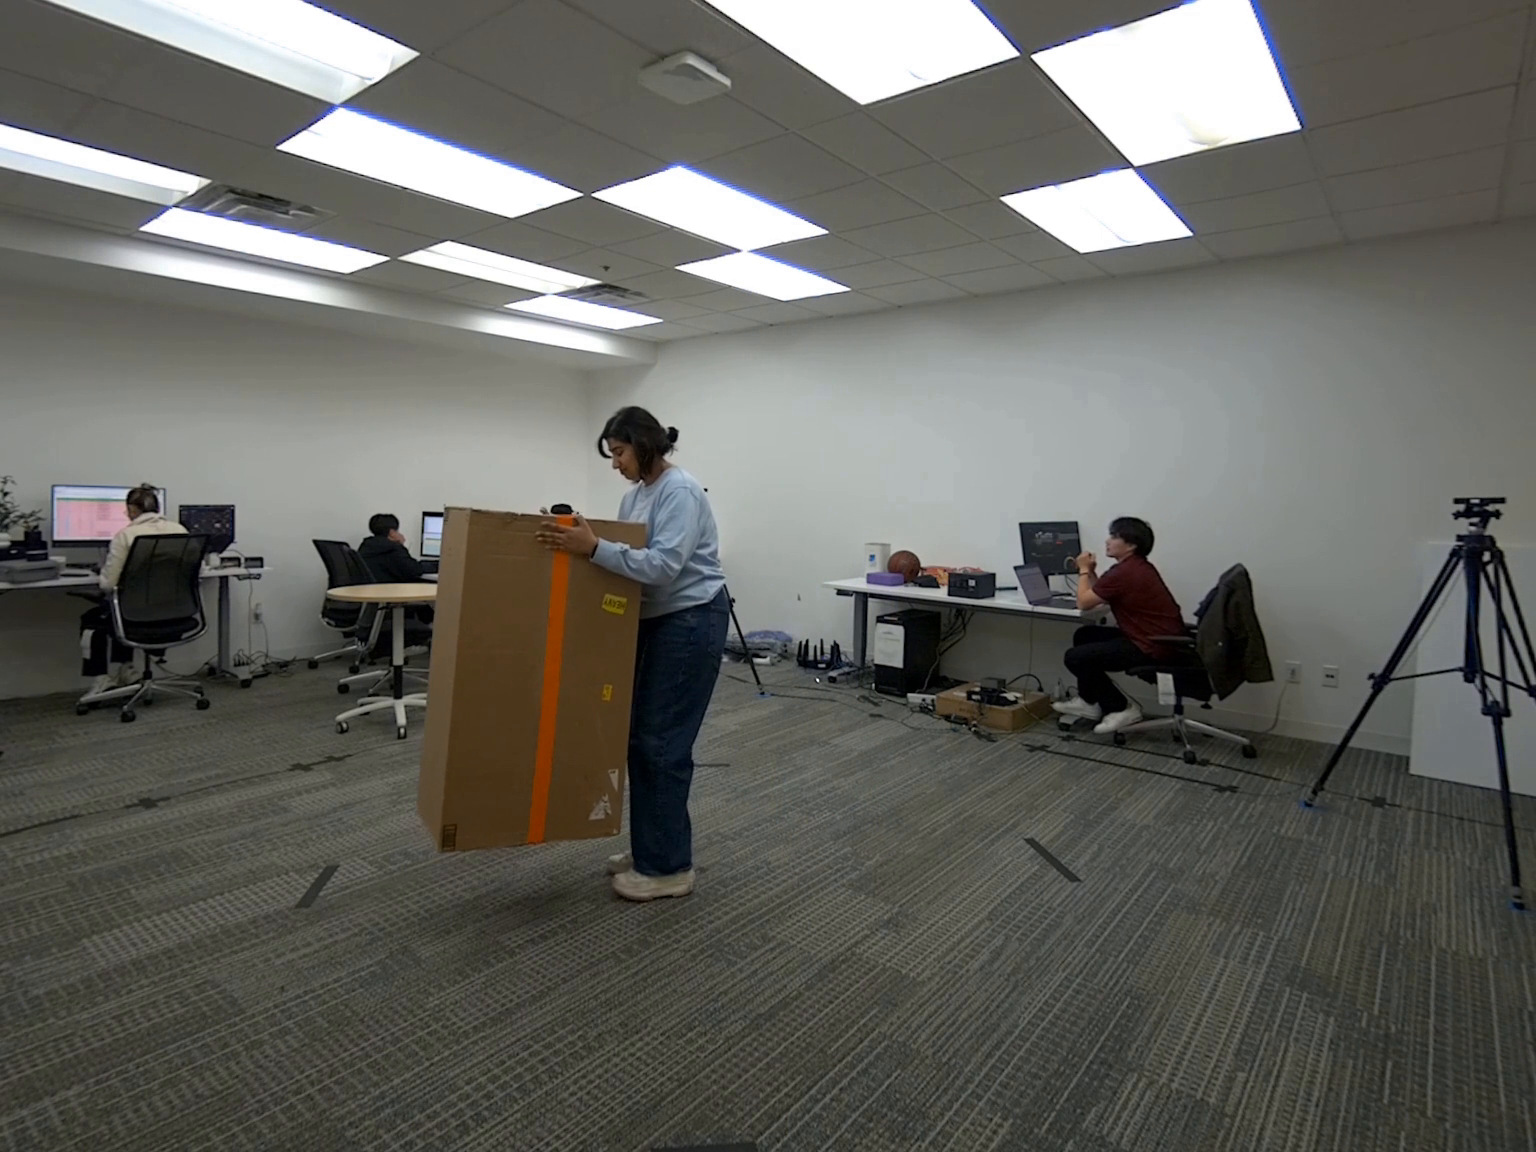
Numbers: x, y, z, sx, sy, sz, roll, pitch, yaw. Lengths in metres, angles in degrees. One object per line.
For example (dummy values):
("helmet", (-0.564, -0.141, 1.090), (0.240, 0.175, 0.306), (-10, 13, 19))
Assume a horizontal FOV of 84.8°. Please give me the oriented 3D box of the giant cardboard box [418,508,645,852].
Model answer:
("giant cardboard box", (-0.803, 0.312, 2.811), (0.567, 1.027, 0.460), (5, 0, -29))
